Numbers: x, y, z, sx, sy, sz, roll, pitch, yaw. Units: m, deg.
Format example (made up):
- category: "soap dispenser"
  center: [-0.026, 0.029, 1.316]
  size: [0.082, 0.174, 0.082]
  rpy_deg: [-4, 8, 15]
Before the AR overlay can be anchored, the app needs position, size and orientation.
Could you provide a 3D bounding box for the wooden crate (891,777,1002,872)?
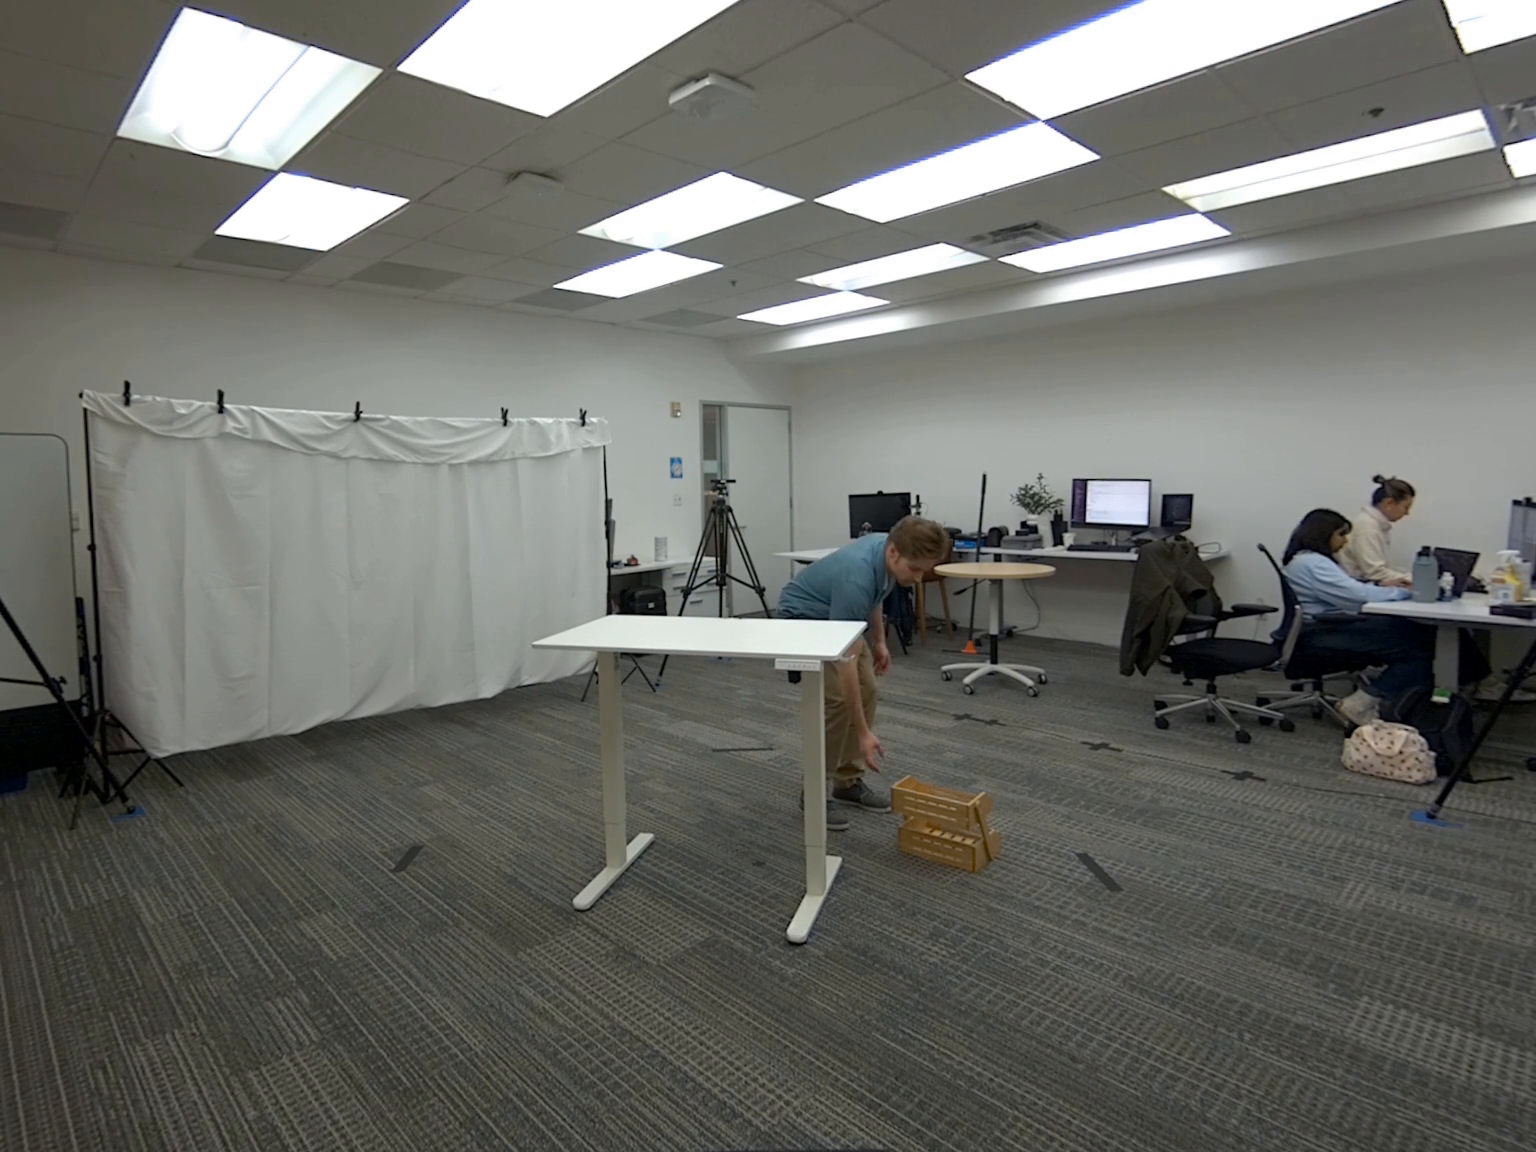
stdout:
- category: "wooden crate"
  center: [0.666, 0.893, 3.173]
  size: [0.334, 0.272, 0.294]
  rpy_deg: [3, 7, 37]
